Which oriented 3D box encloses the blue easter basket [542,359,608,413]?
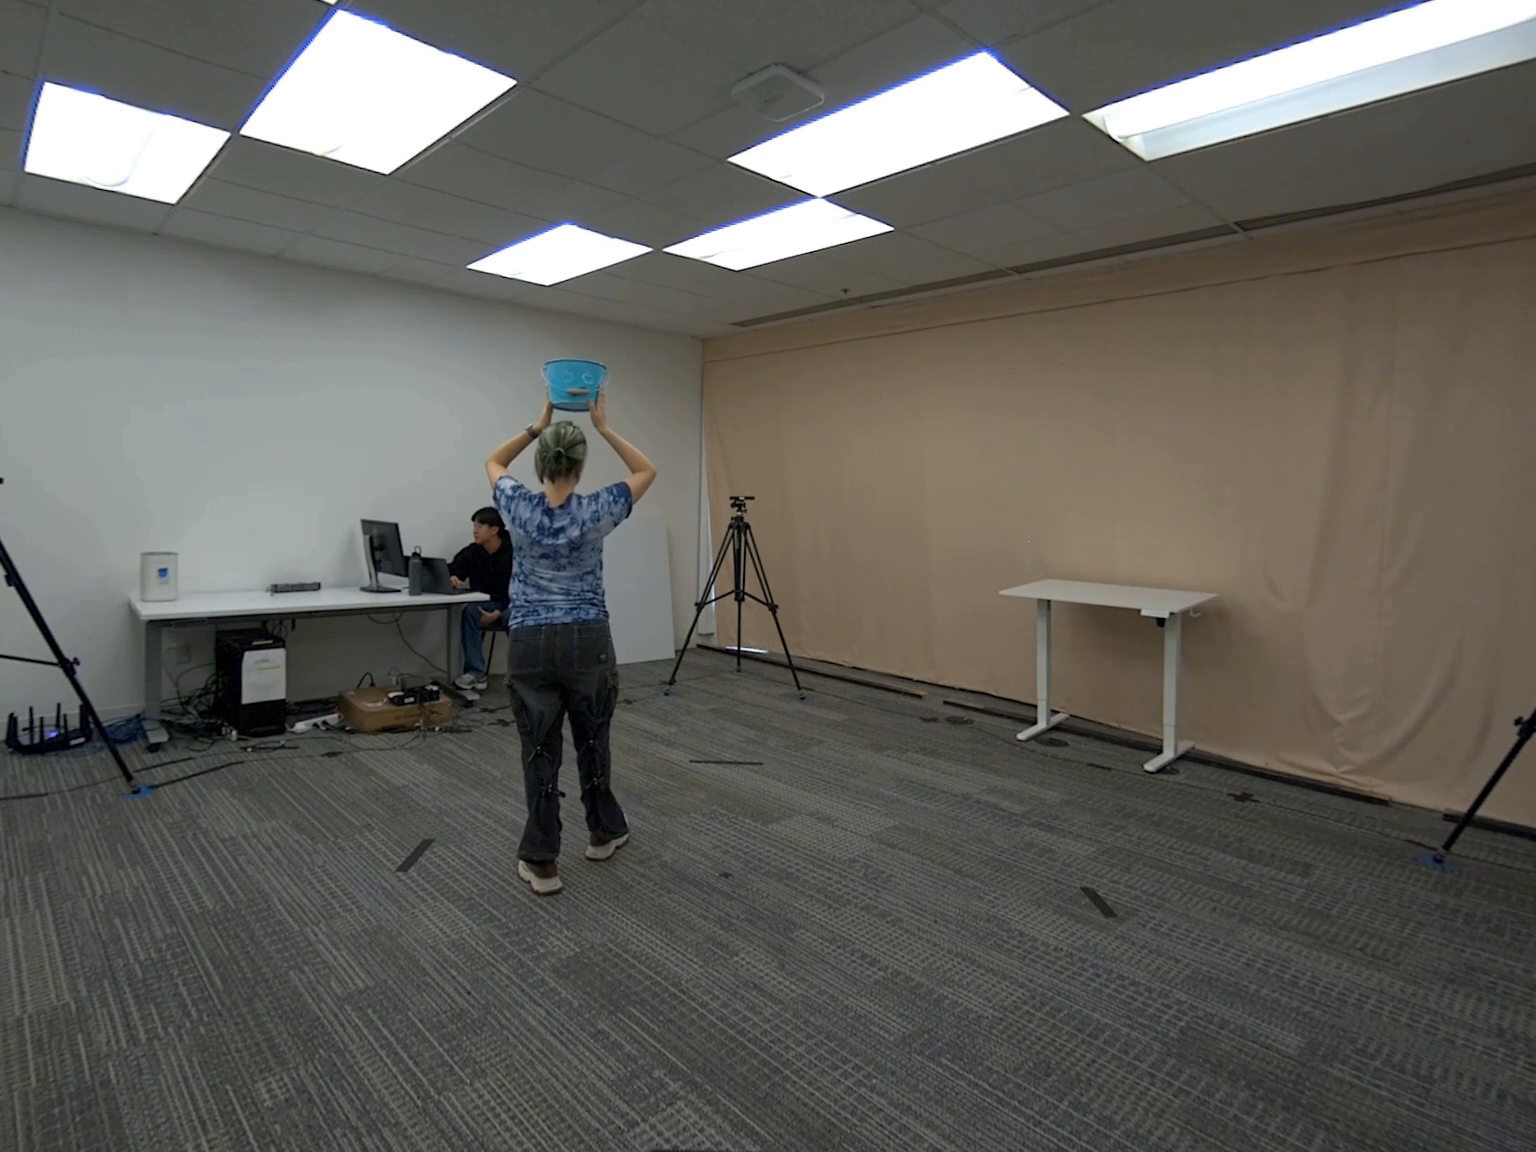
[{"bbox_3d":[-0.739,-0.710,3.126,0.243,0.156,0.243,2,-2,-1],"label":"blue easter basket"}]
